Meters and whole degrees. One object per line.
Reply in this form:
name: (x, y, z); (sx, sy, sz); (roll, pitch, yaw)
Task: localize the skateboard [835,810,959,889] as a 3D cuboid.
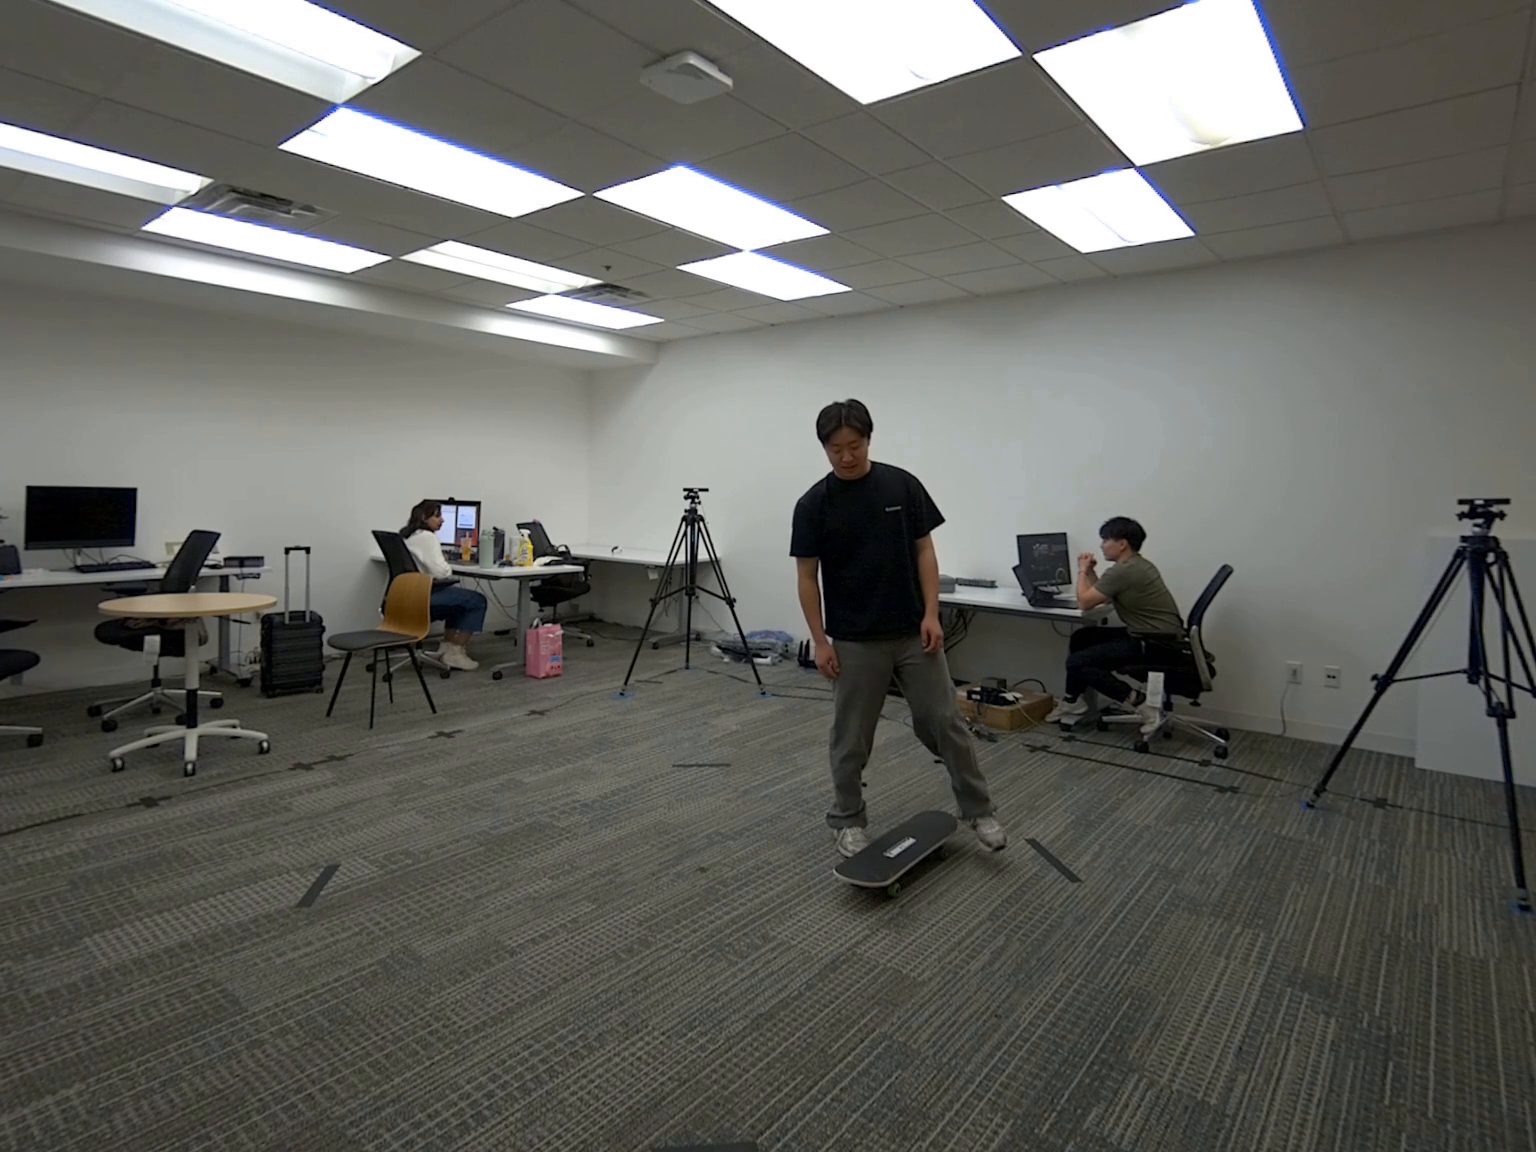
skateboard: (0.481, 1.025, 3.135); (0.200, 0.110, 0.763); (4, 7, 36)
